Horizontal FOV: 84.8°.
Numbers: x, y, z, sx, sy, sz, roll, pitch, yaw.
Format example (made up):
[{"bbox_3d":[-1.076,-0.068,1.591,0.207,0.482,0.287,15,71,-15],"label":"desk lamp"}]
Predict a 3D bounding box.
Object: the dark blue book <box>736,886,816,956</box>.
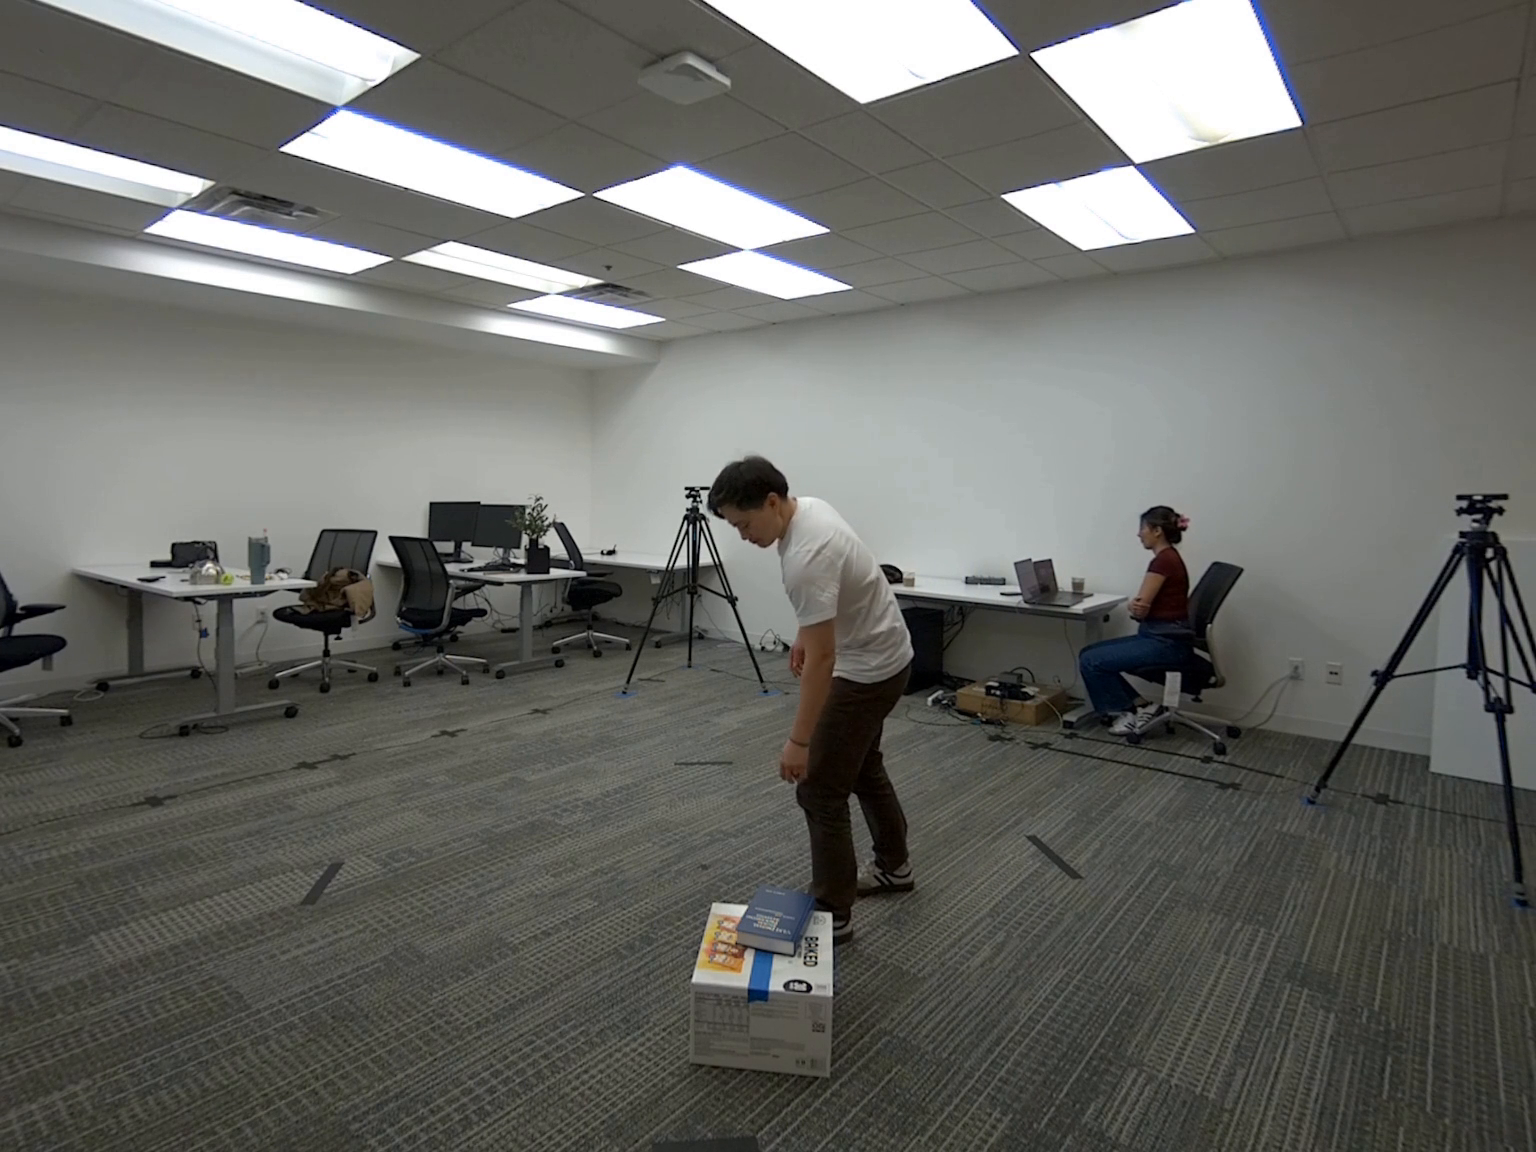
[{"bbox_3d":[0.015,0.933,2.306,0.166,0.045,0.242,3,9,17],"label":"dark blue book"}]
